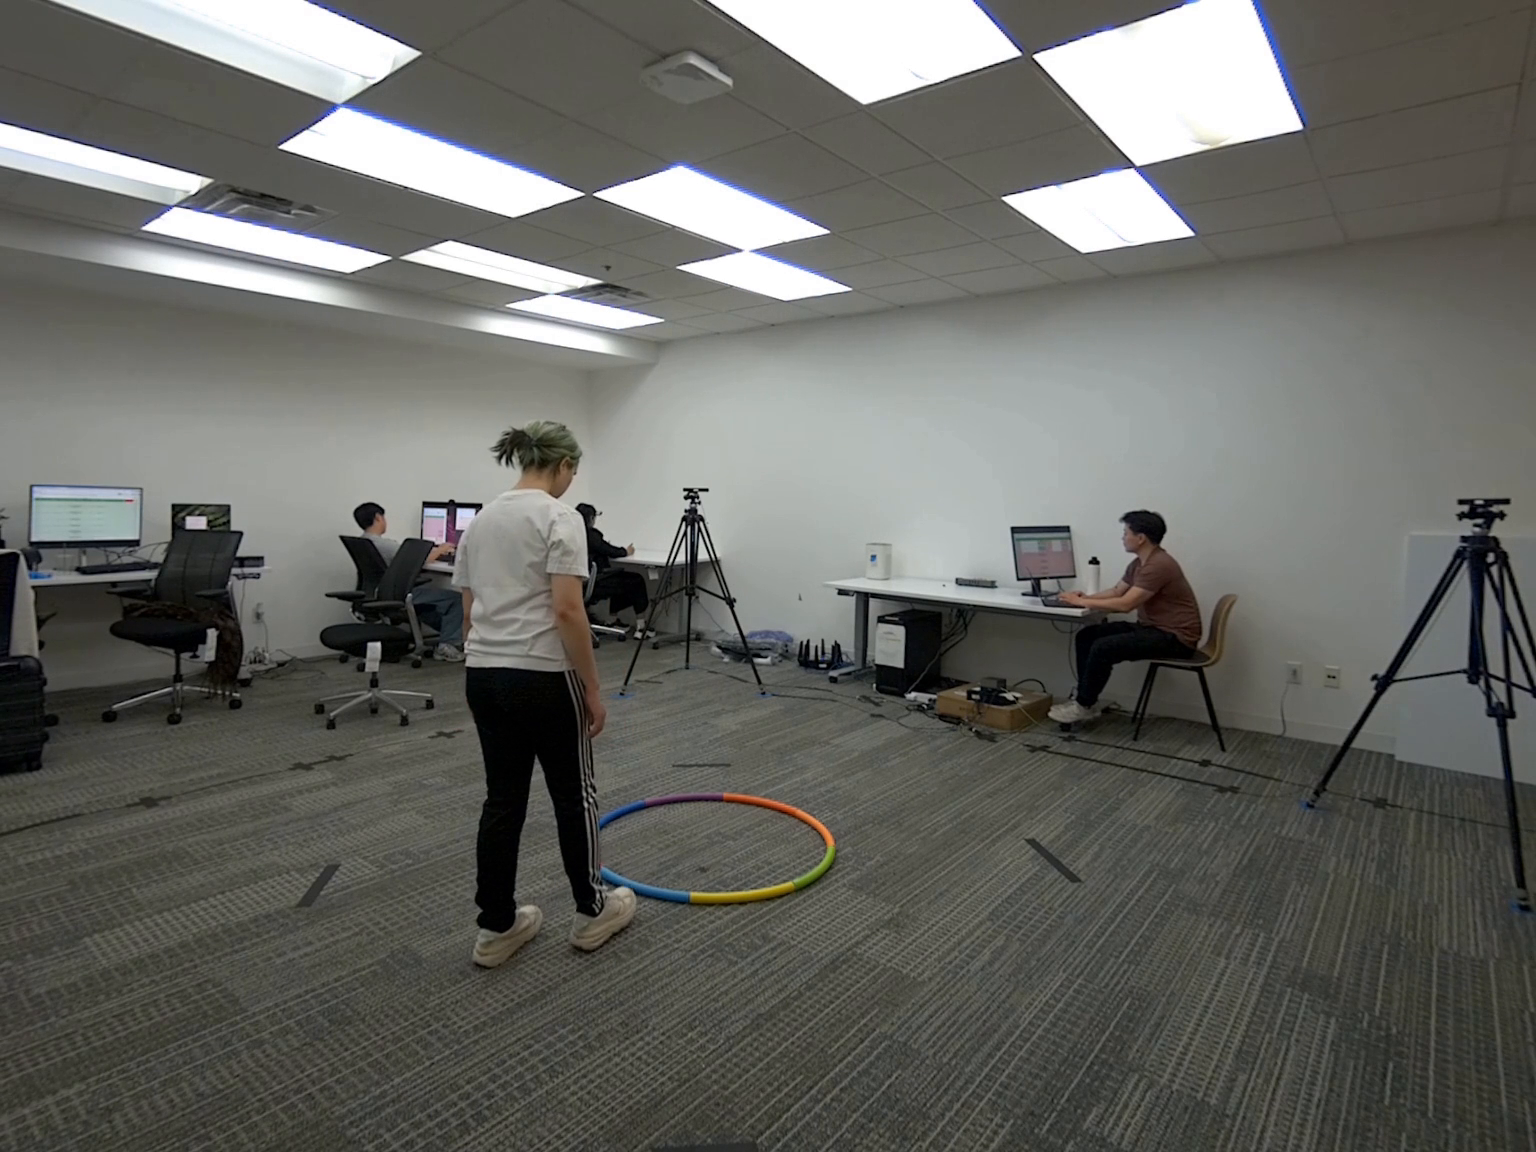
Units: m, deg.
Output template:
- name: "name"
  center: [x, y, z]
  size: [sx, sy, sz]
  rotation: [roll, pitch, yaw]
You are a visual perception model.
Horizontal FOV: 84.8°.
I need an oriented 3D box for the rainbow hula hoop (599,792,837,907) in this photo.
- name: "rainbow hula hoop"
  center: [-0.236, 1.018, 3.319]
  size: [0.978, 0.035, 0.984]
  rotation: [1, 5, -2]
